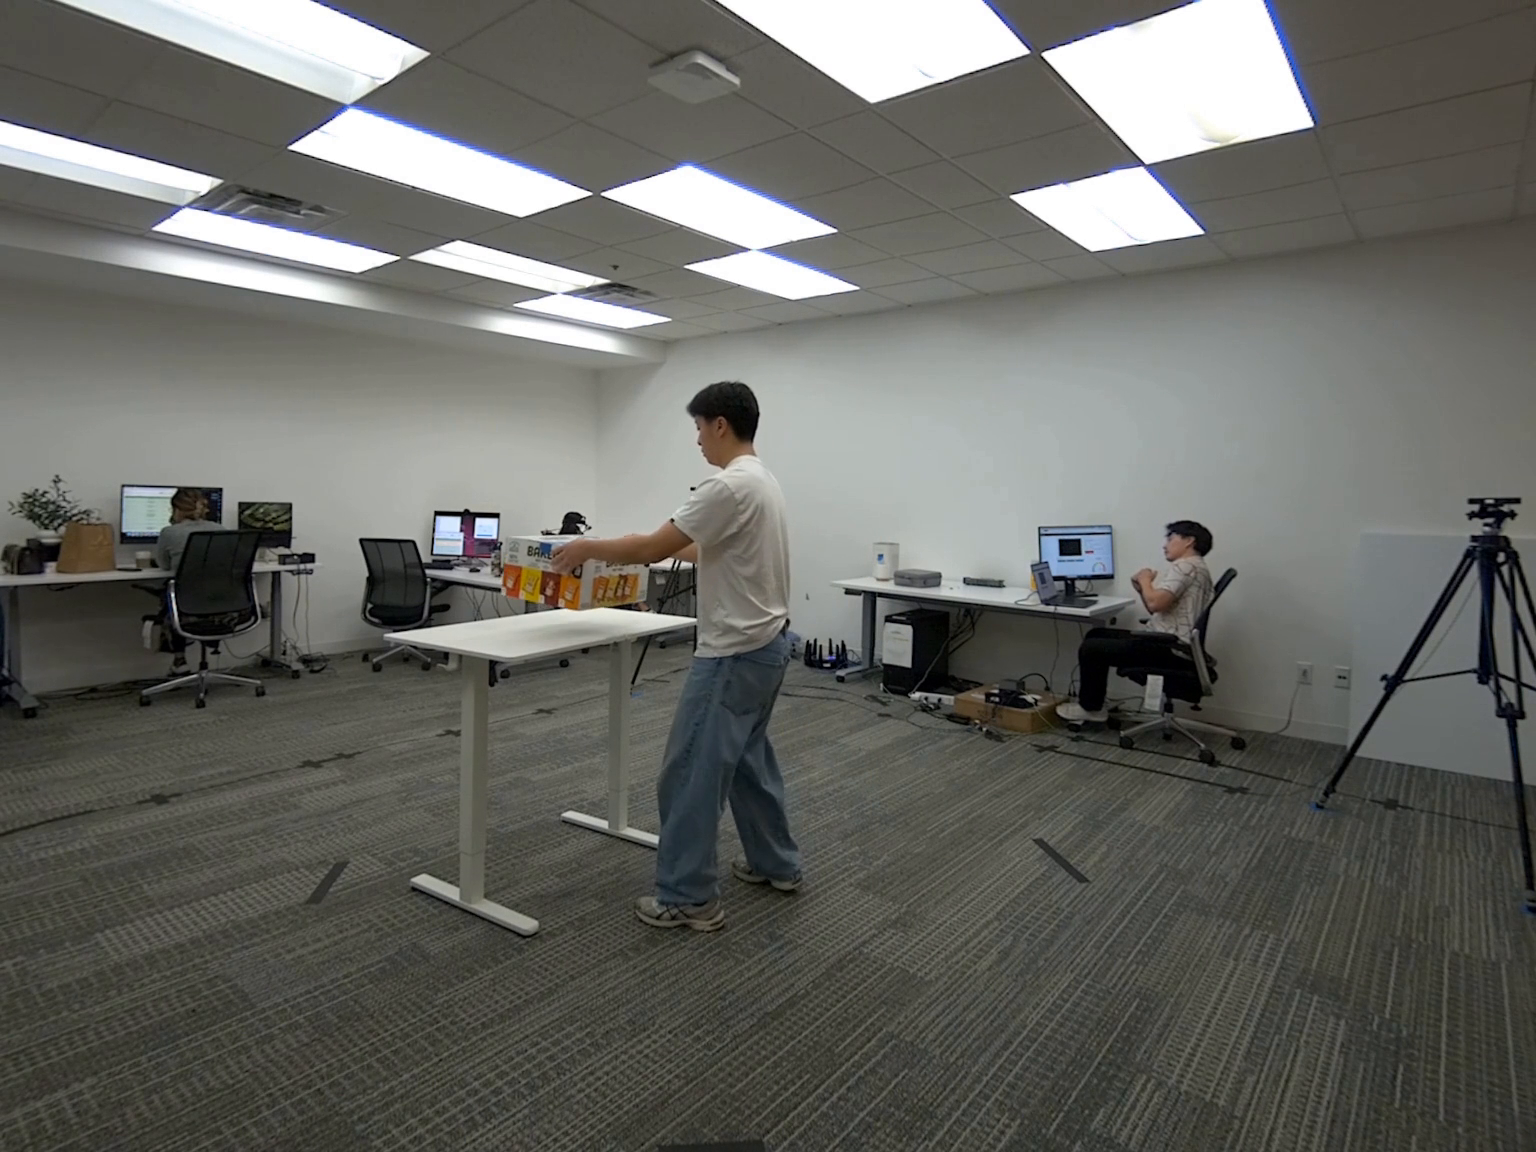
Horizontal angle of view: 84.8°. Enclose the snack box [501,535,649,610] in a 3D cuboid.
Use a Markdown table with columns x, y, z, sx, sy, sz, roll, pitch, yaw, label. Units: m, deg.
| x | y | z | sx | sy | sz | roll | pitch | yaw | label |
| --- | --- | --- | --- | --- | --- | --- | --- | --- | --- |
| -0.676 | -0.013 | 3.008 | 0.350 | 0.205 | 0.395 | 9 | 7 | 26 | snack box |
